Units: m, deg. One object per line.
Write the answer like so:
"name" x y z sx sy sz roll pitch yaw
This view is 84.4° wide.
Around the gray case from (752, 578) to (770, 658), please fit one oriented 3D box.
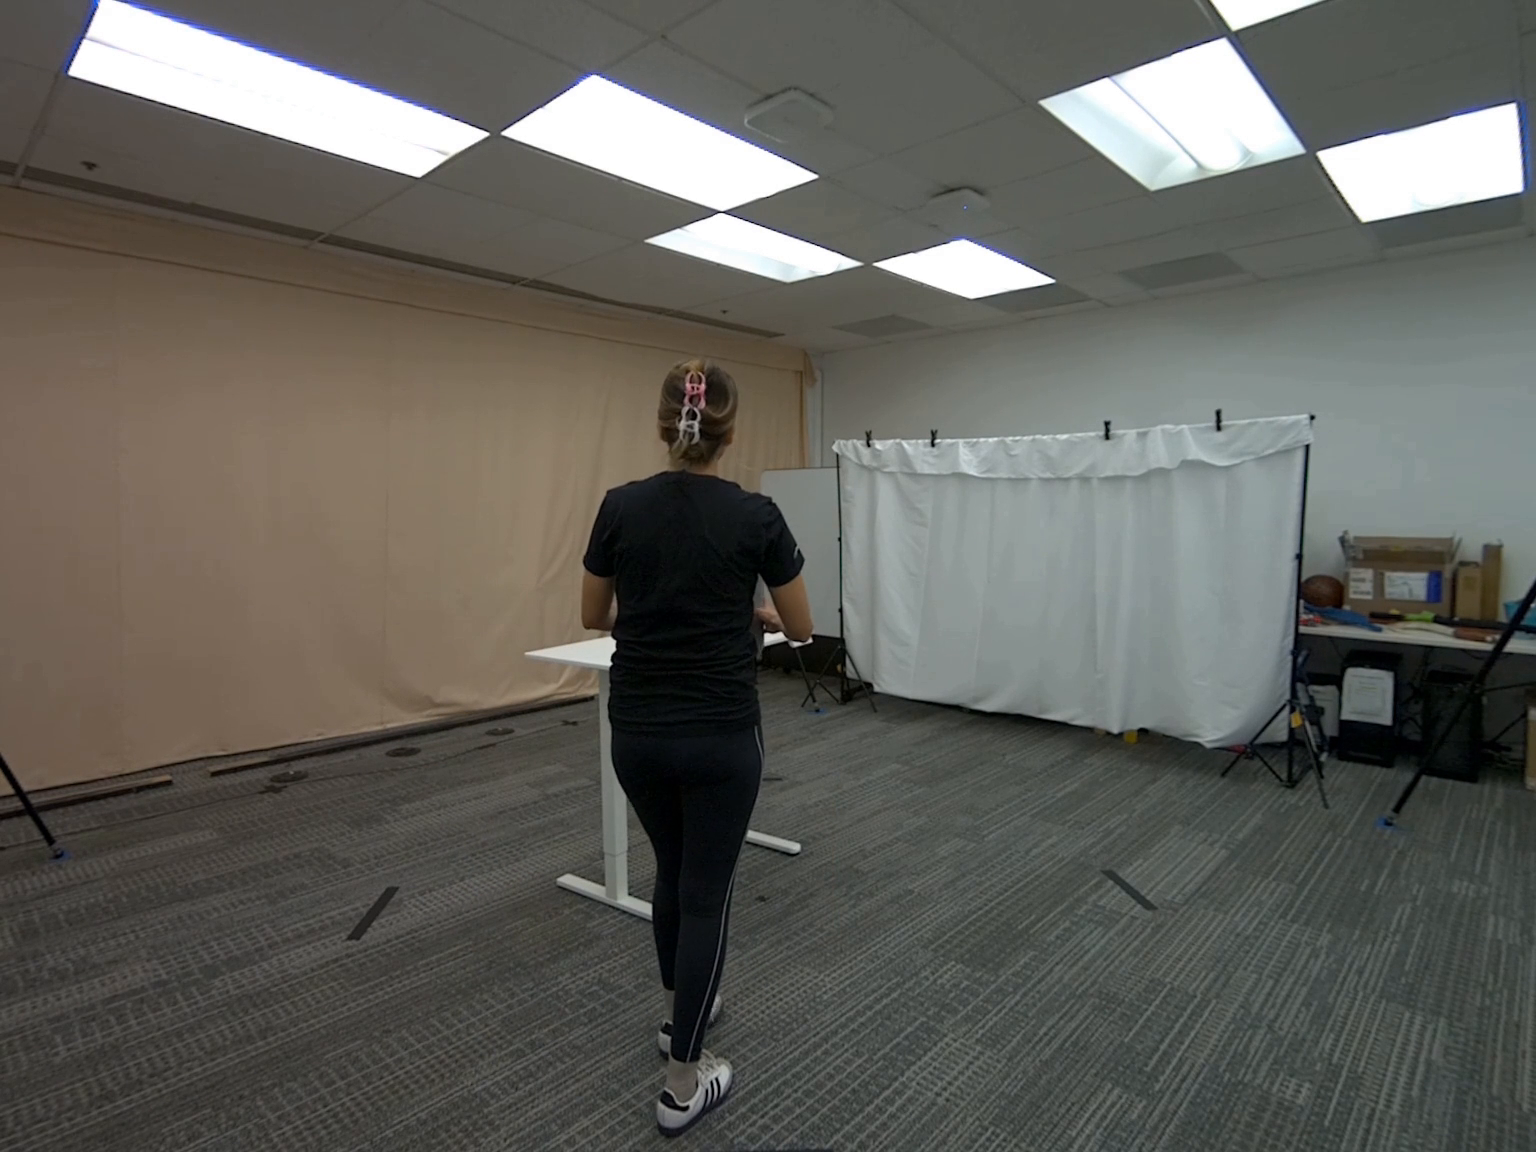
"gray case" -0.156 0.092 2.364 0.255 0.260 0.105 0 2 -6
